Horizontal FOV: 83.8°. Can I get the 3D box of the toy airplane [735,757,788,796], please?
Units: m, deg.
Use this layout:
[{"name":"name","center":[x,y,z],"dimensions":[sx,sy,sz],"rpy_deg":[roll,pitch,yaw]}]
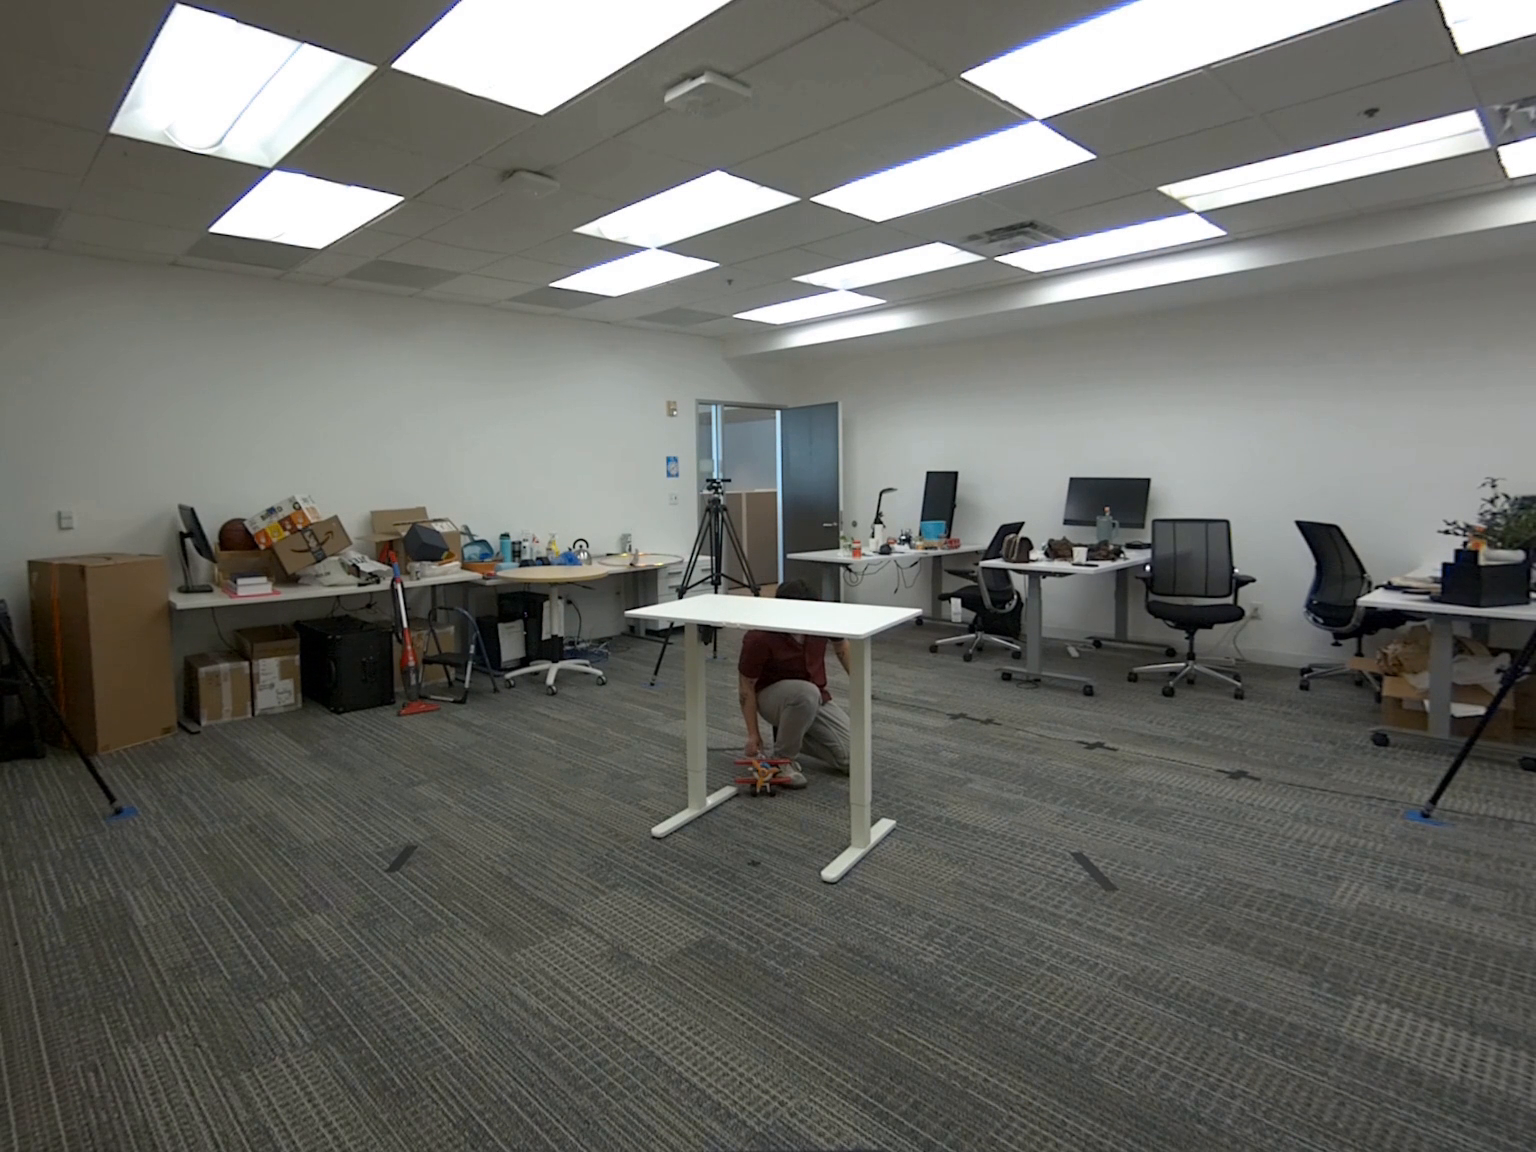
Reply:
[{"name":"toy airplane","center":[-0.049,0.884,3.837],"dimensions":[0.245,0.156,0.266],"rpy_deg":[-3,7,-29]}]
